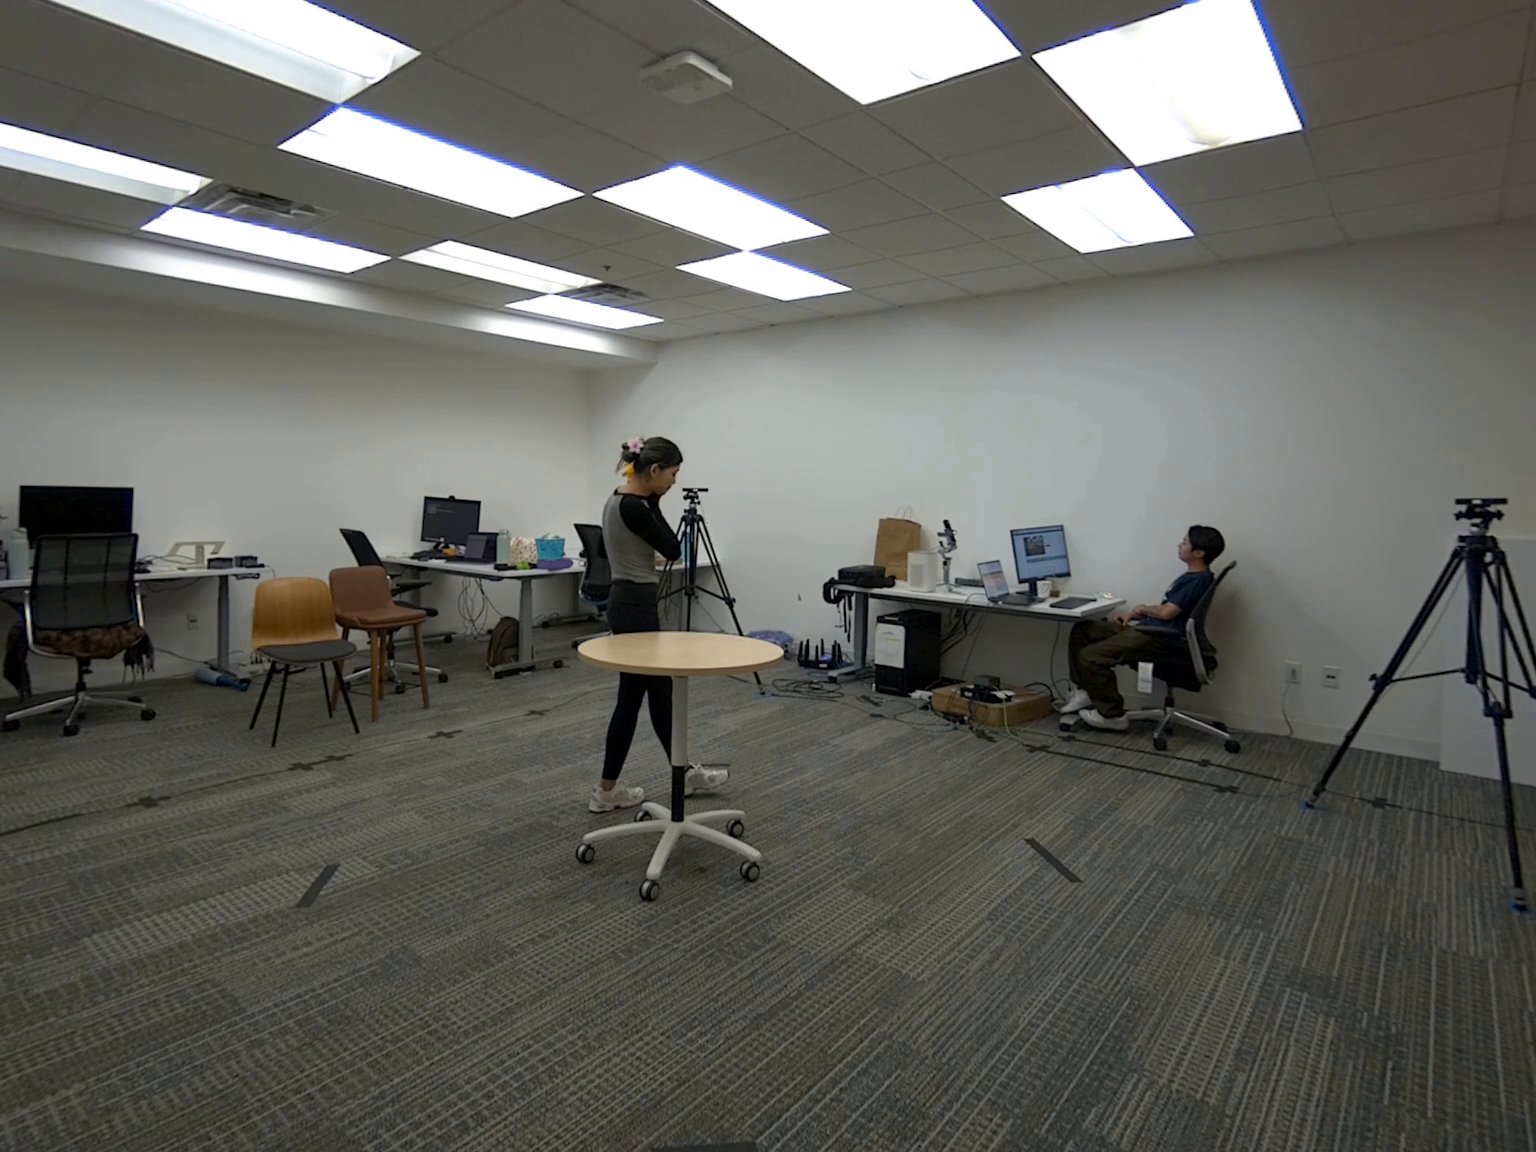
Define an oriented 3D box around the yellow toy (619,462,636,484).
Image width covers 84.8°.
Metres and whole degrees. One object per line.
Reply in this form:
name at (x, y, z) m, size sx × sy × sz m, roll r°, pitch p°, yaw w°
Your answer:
yellow toy at (-0.576, -0.503, 3.873) m, size 0.191 × 0.231 × 0.207 m, roll -1°, pitch -1°, yaw -12°
